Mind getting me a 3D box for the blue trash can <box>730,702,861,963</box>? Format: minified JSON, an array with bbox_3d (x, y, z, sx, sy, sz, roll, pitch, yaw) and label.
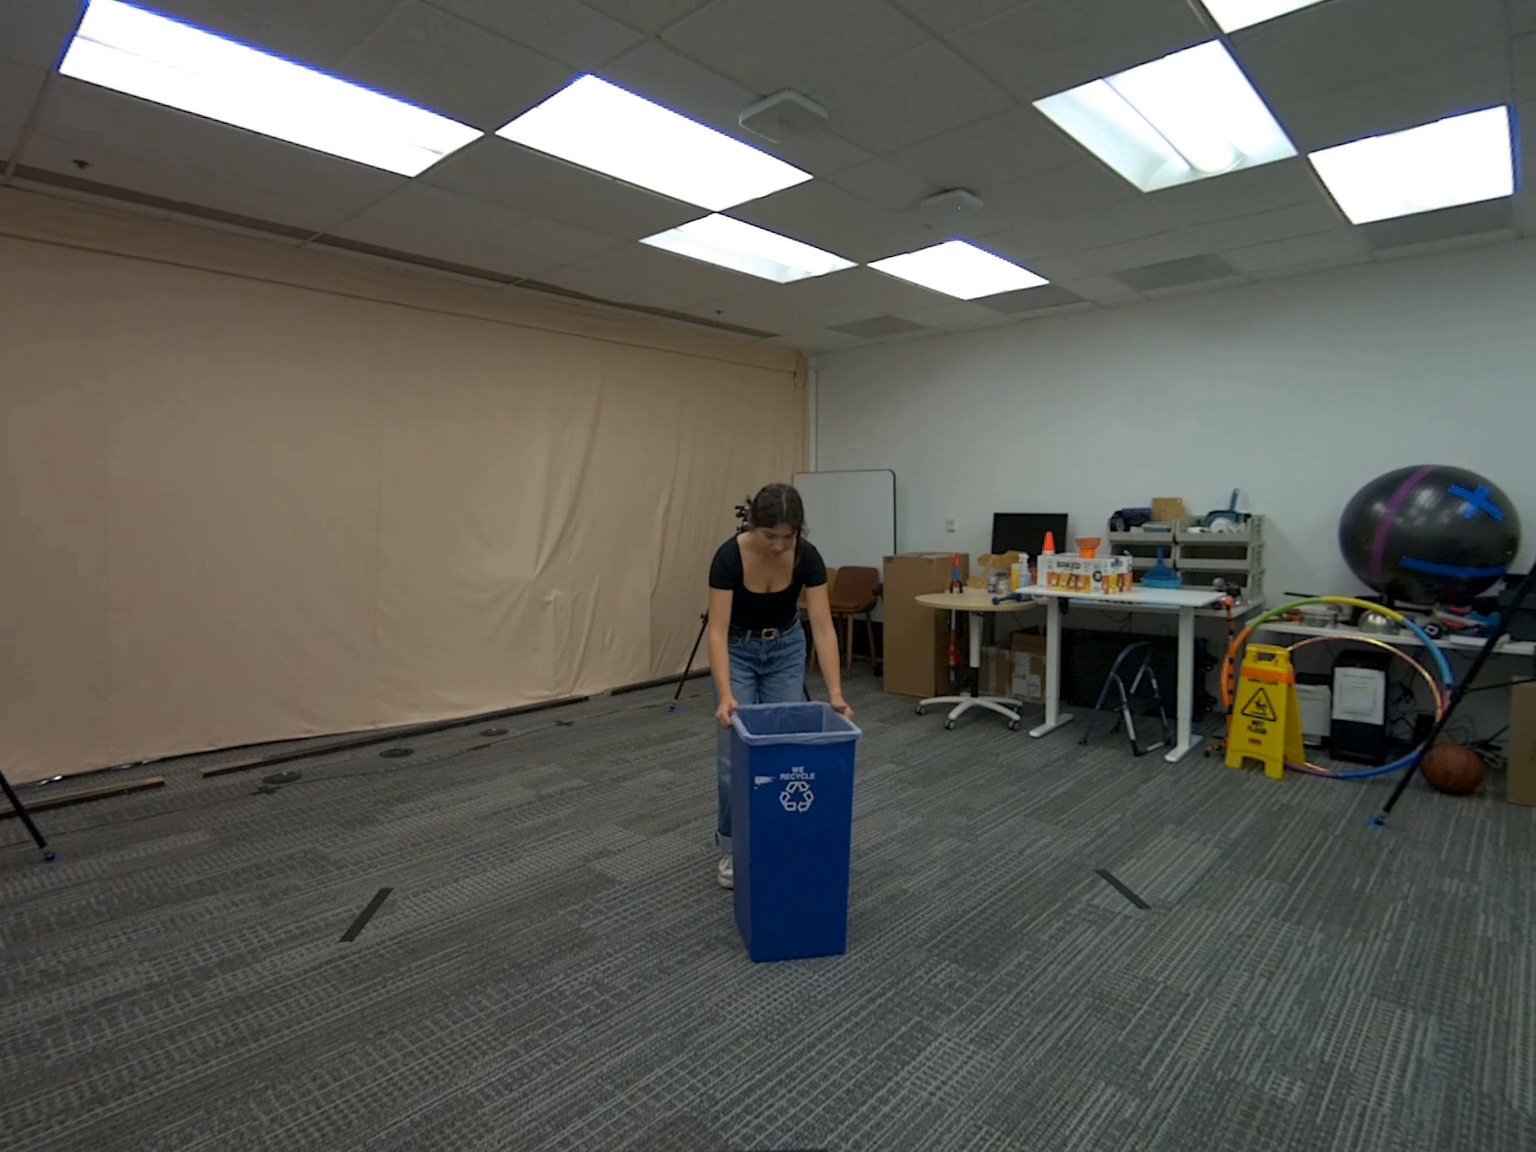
[{"bbox_3d":[0.070,0.807,2.713,0.369,0.711,0.384,-2,5,-12],"label":"blue trash can"}]
